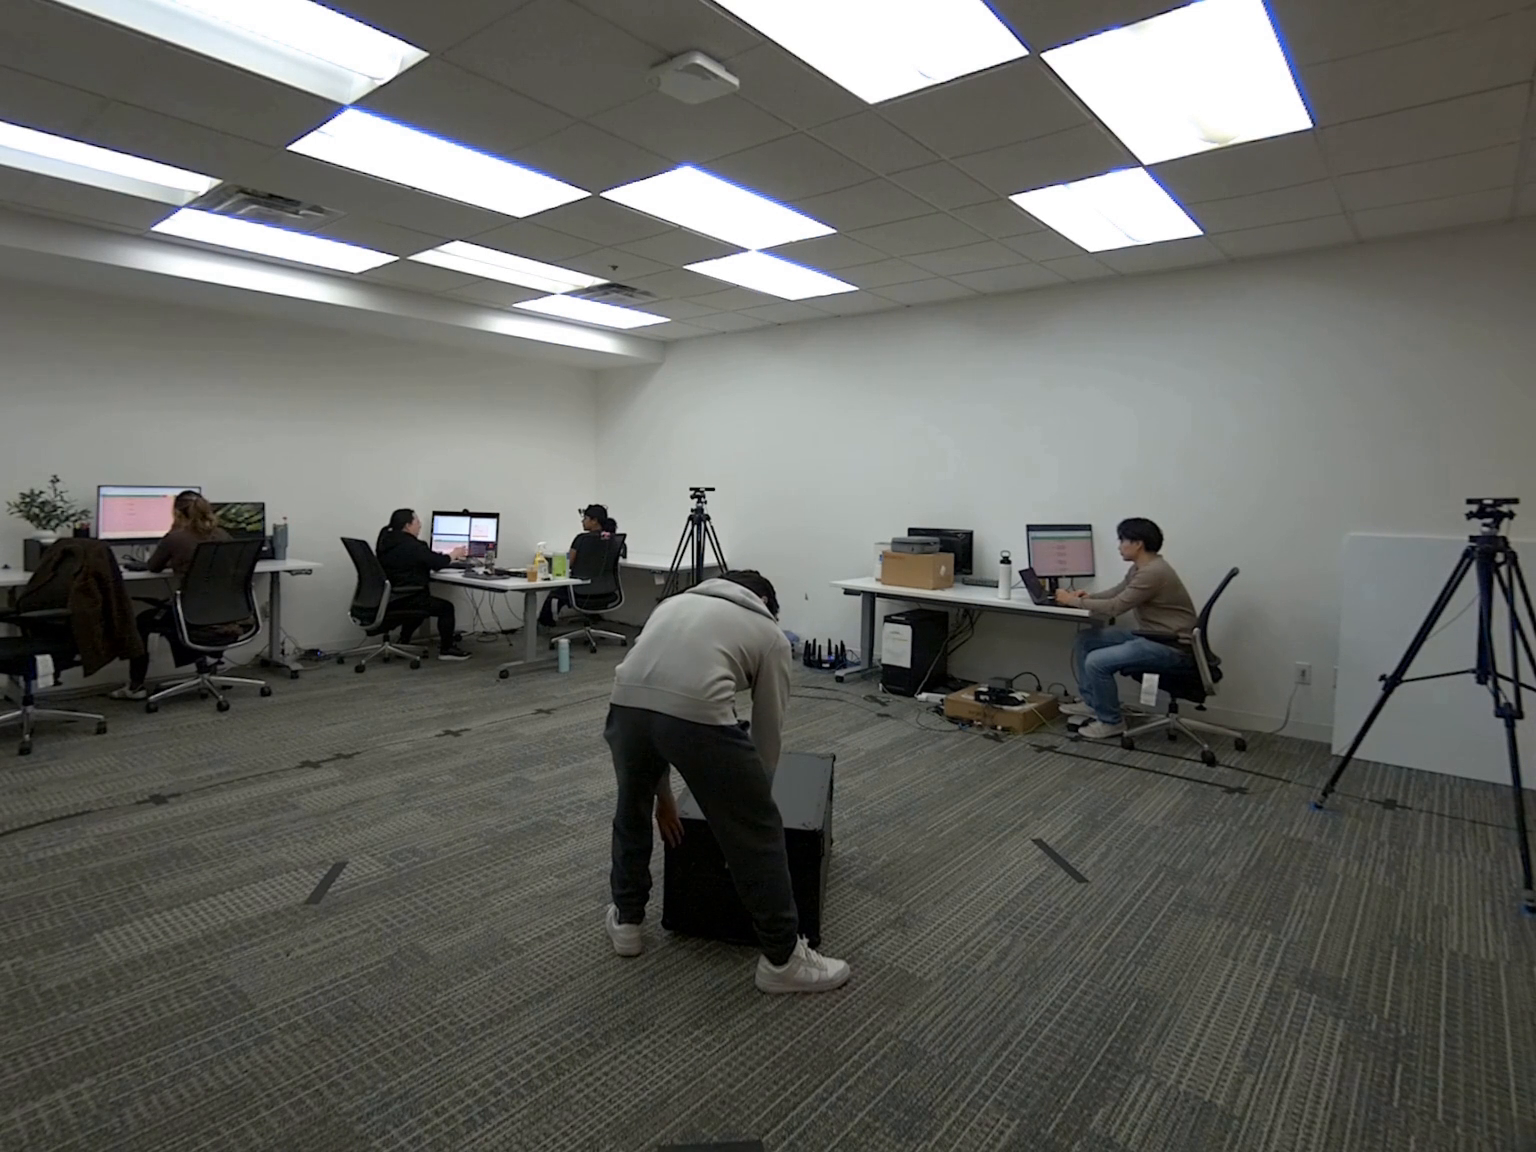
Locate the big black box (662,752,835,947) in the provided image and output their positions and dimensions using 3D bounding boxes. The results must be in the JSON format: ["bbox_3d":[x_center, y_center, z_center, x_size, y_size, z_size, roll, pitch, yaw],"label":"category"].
[{"bbox_3d":[-0.030,0.887,2.981,0.527,0.394,0.856,2,6,8],"label":"big black box"}]
